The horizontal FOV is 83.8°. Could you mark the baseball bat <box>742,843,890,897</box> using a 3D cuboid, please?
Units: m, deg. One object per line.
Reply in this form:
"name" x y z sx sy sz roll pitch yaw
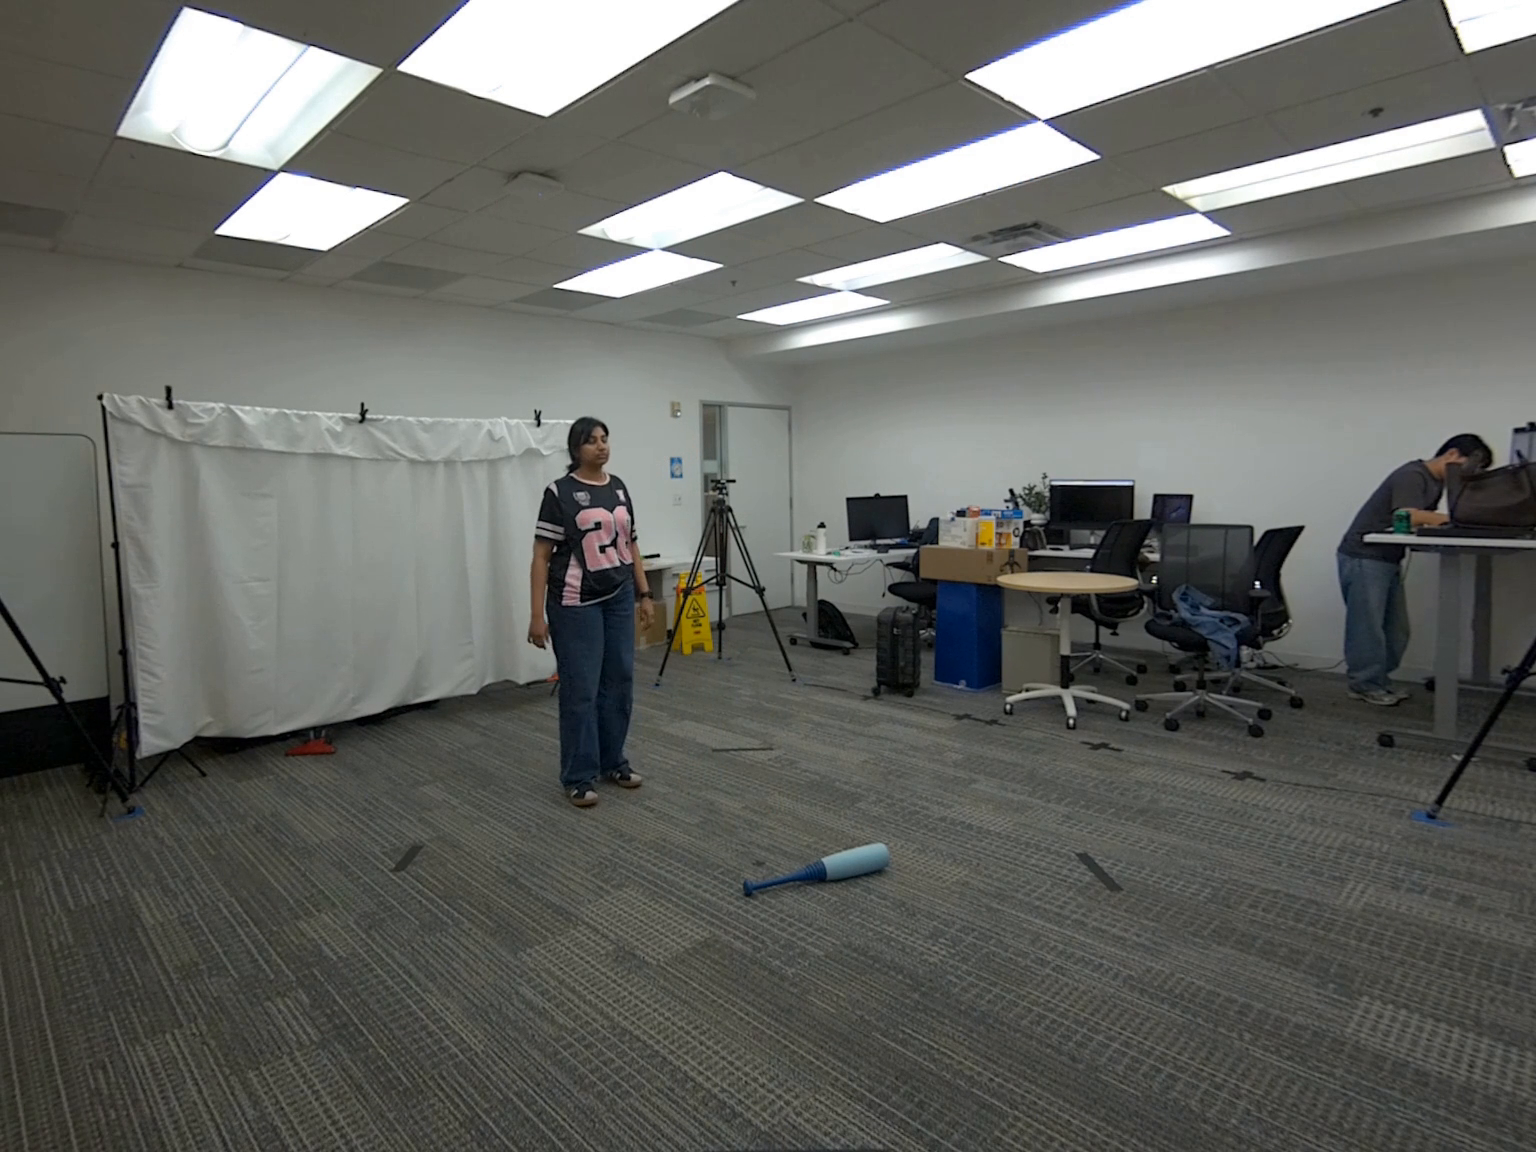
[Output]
"baseball bat" 0.175 1.025 2.959 0.535 0.088 0.091 -7 7 -19
